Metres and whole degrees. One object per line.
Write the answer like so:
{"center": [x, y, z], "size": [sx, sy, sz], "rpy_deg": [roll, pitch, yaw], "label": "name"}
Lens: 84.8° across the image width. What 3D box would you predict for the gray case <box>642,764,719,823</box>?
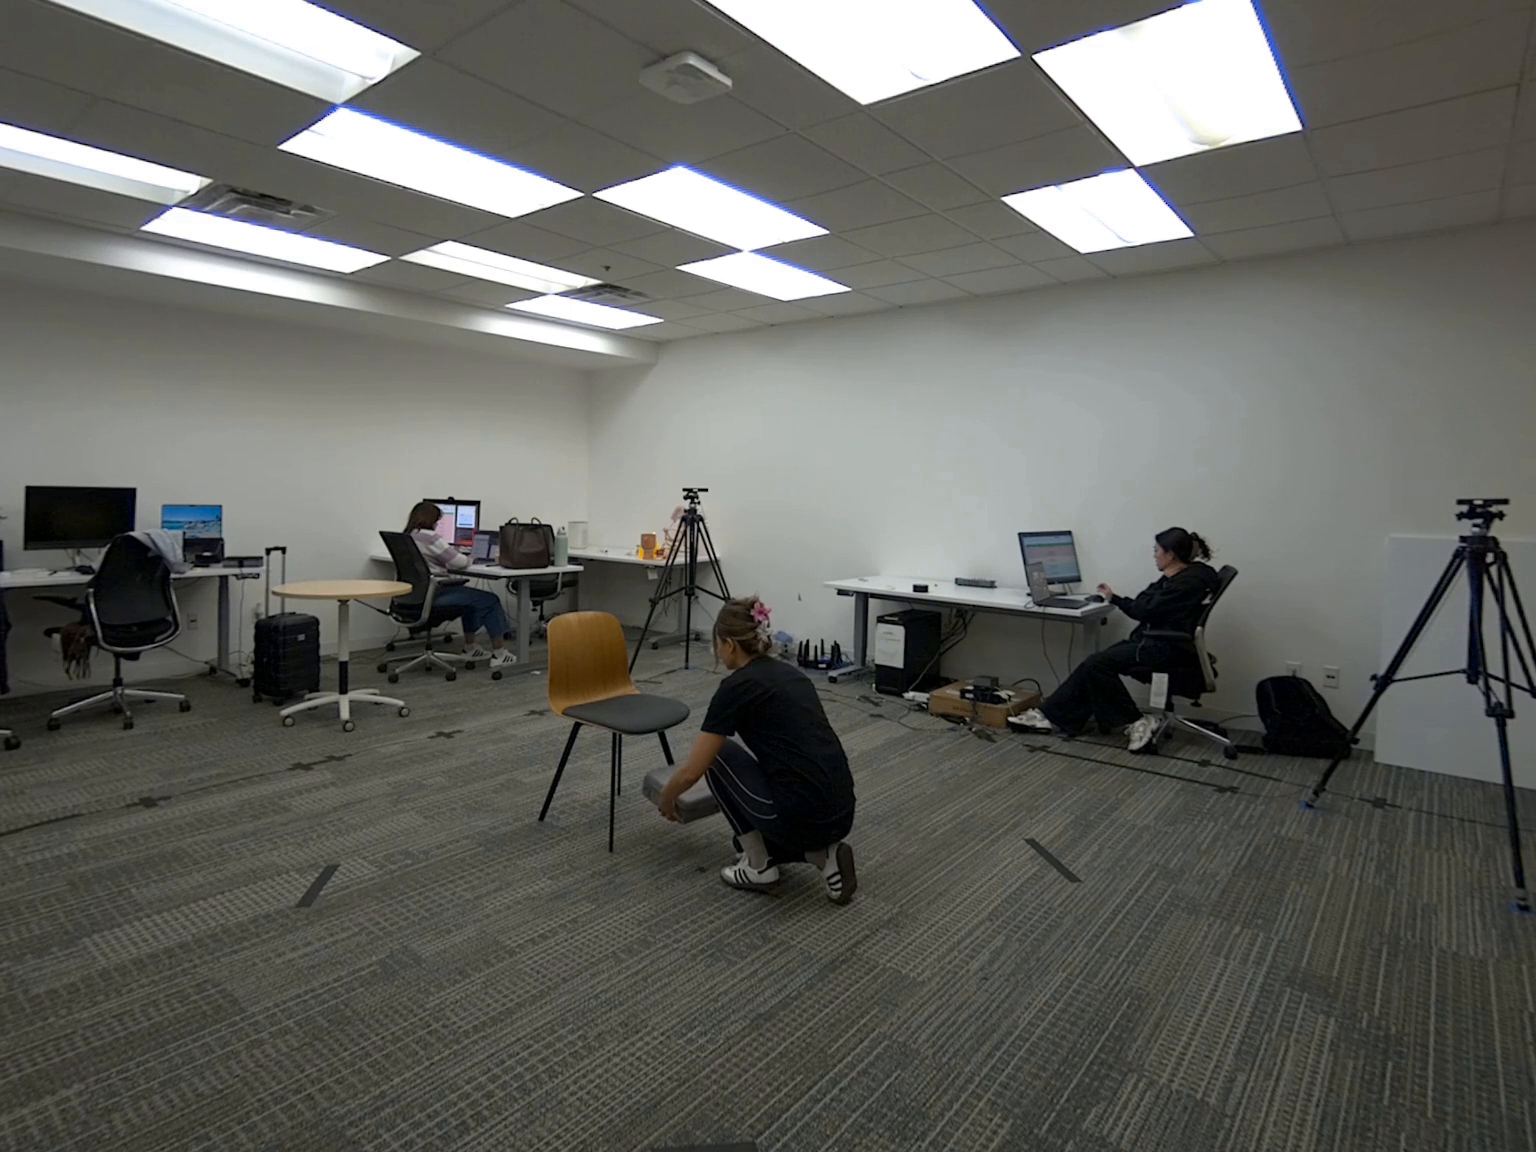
{"center": [-0.338, 0.824, 3.293], "size": [0.271, 0.103, 0.249], "rpy_deg": [22, 15, 37], "label": "gray case"}
